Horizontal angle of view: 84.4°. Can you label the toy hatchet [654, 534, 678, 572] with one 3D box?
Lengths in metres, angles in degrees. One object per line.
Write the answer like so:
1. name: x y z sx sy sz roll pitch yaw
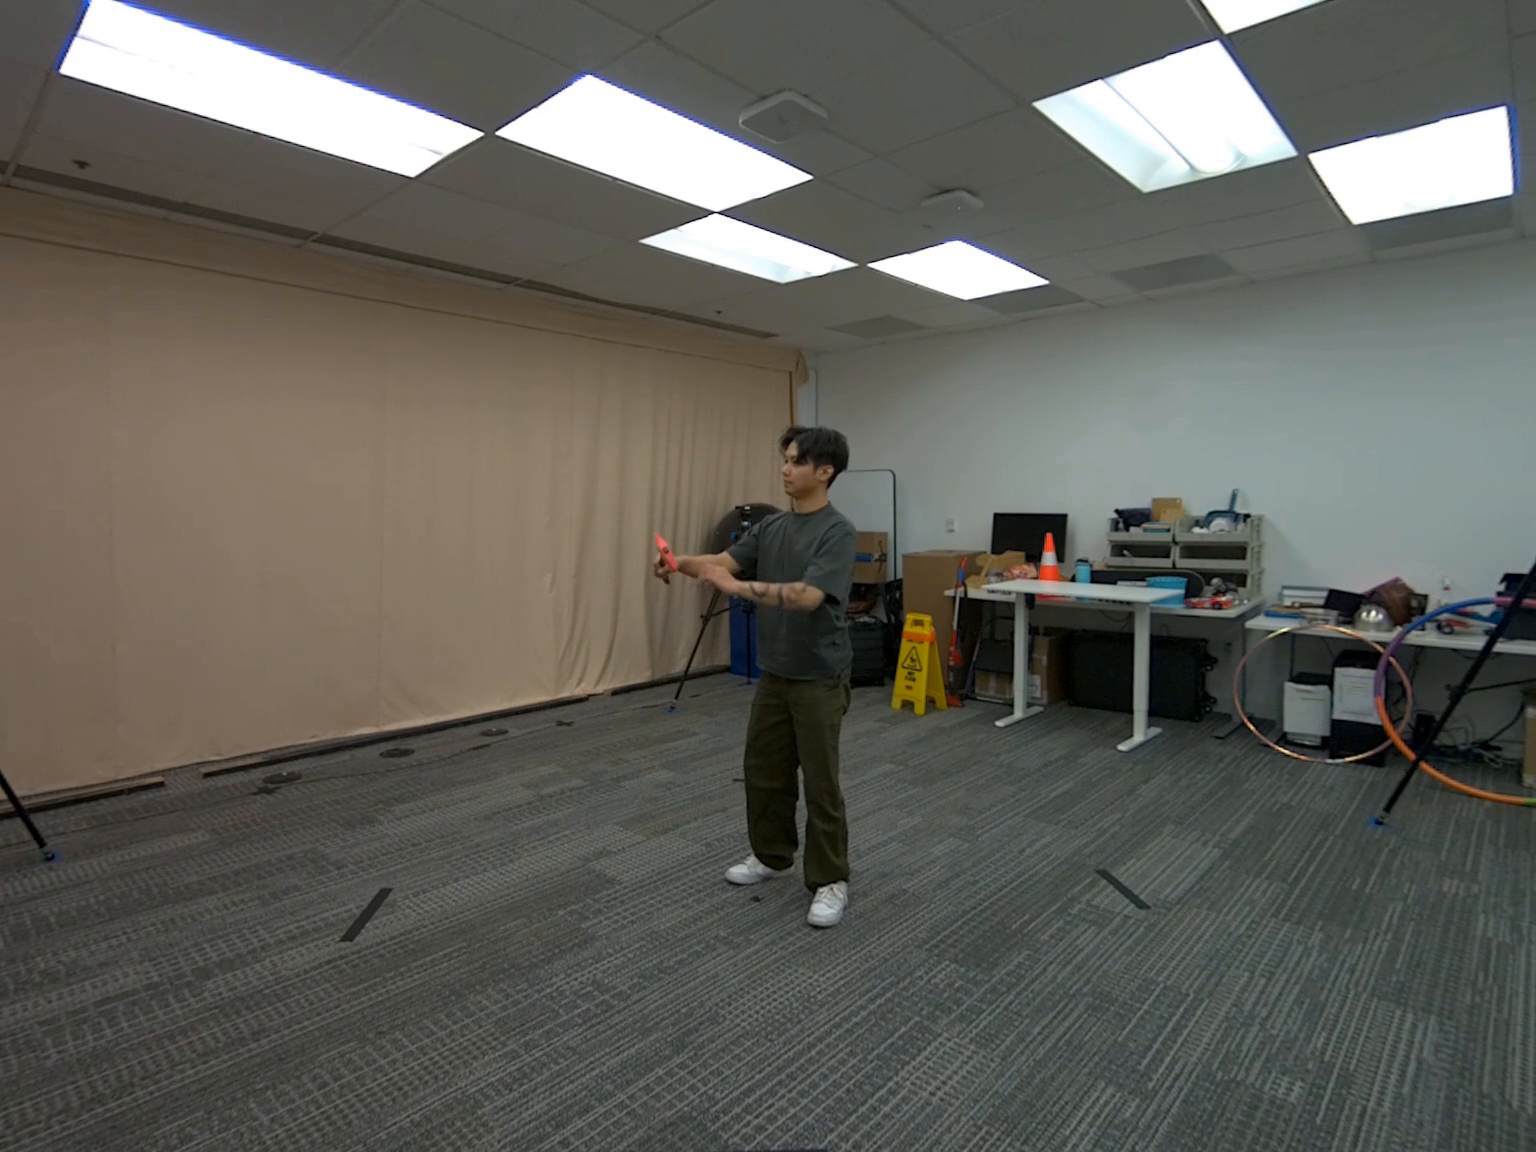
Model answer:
1. toy hatchet: -0.329 -0.002 2.765 0.029 0.135 0.265 -28 -31 -17
